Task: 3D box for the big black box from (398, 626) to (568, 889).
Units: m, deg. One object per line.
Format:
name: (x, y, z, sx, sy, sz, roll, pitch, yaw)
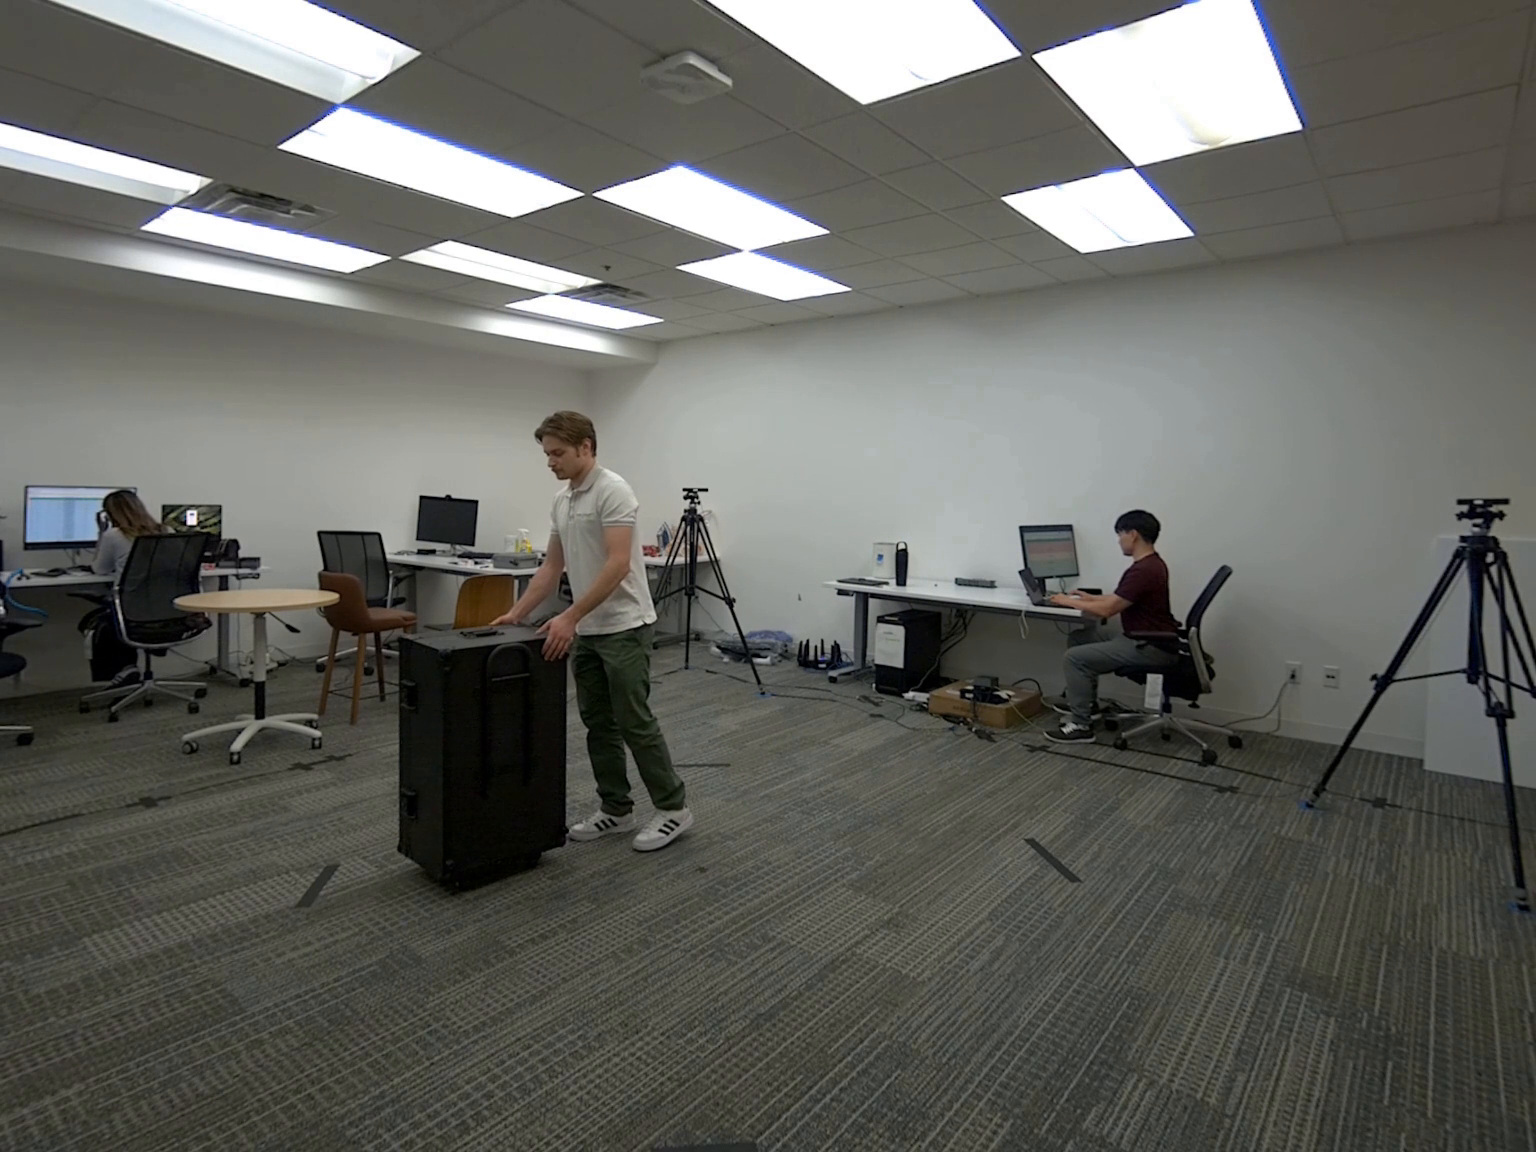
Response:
big black box: (-1.036, 0.641, 3.074, 0.398, 0.865, 0.508, 5, 6, 44)
